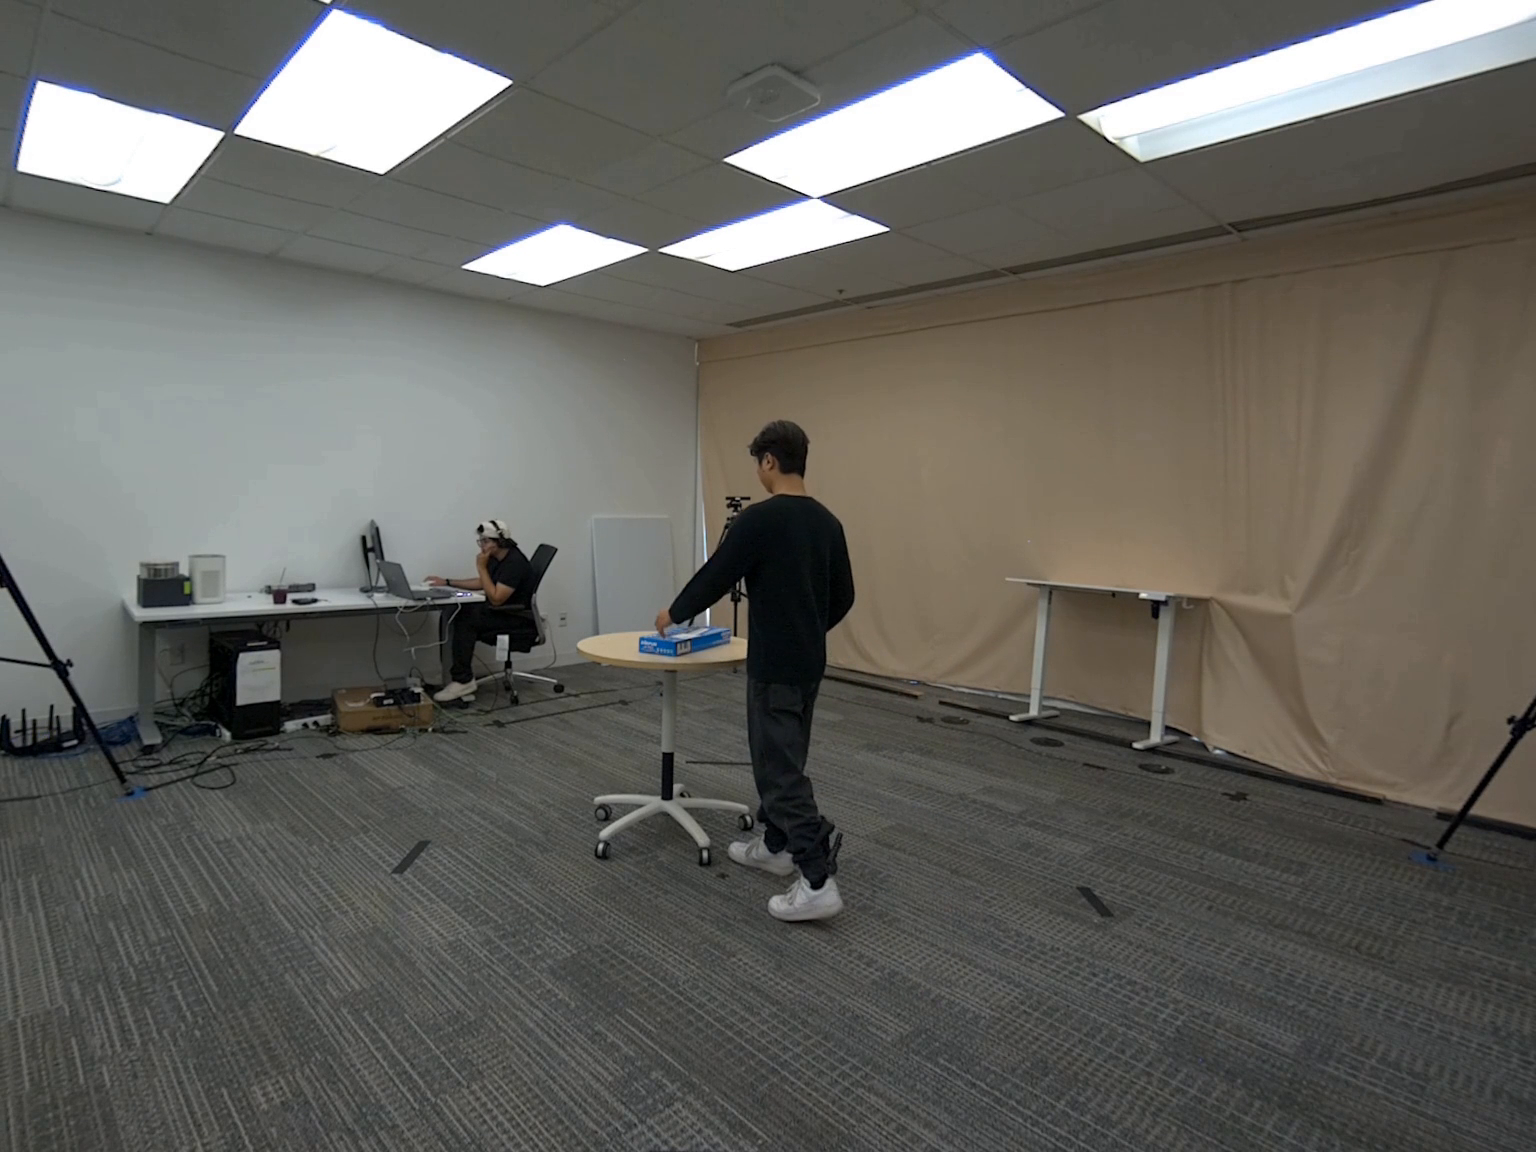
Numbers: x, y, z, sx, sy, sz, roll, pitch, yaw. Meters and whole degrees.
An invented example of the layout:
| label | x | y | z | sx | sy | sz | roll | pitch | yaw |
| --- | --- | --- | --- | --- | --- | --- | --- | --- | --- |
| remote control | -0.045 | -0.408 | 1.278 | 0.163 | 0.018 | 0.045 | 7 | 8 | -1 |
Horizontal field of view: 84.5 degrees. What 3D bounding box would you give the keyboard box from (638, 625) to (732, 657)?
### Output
| label | x | y | z | sx | sy | sz | roll | pitch | yaw |
| --- | --- | --- | --- | --- | --- | --- | --- | --- | --- |
| keyboard box | -0.336 | 0.261 | 3.431 | 0.179 | 0.059 | 0.429 | 4 | 5 | 27 |
